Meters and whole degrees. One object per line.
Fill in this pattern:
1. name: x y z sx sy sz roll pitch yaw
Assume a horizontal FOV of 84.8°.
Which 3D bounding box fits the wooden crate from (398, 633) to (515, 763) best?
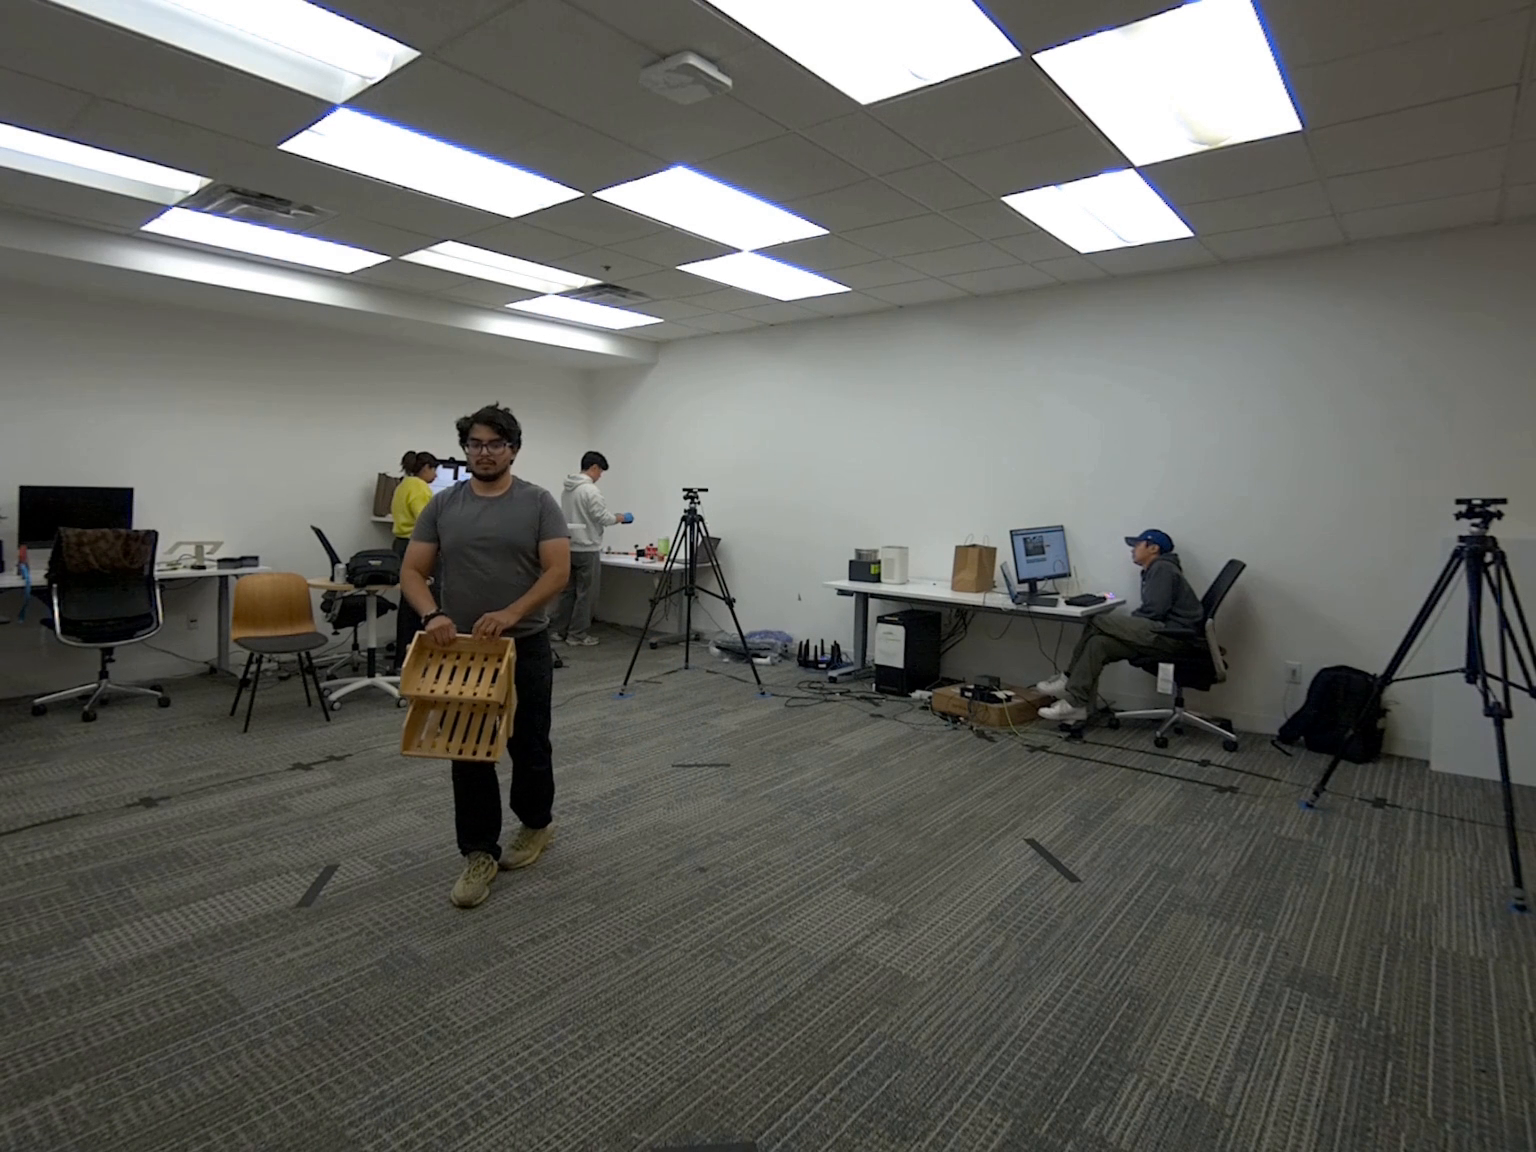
1. wooden crate: -0.971 0.381 2.610 0.324 0.266 0.310 2 43 -2
